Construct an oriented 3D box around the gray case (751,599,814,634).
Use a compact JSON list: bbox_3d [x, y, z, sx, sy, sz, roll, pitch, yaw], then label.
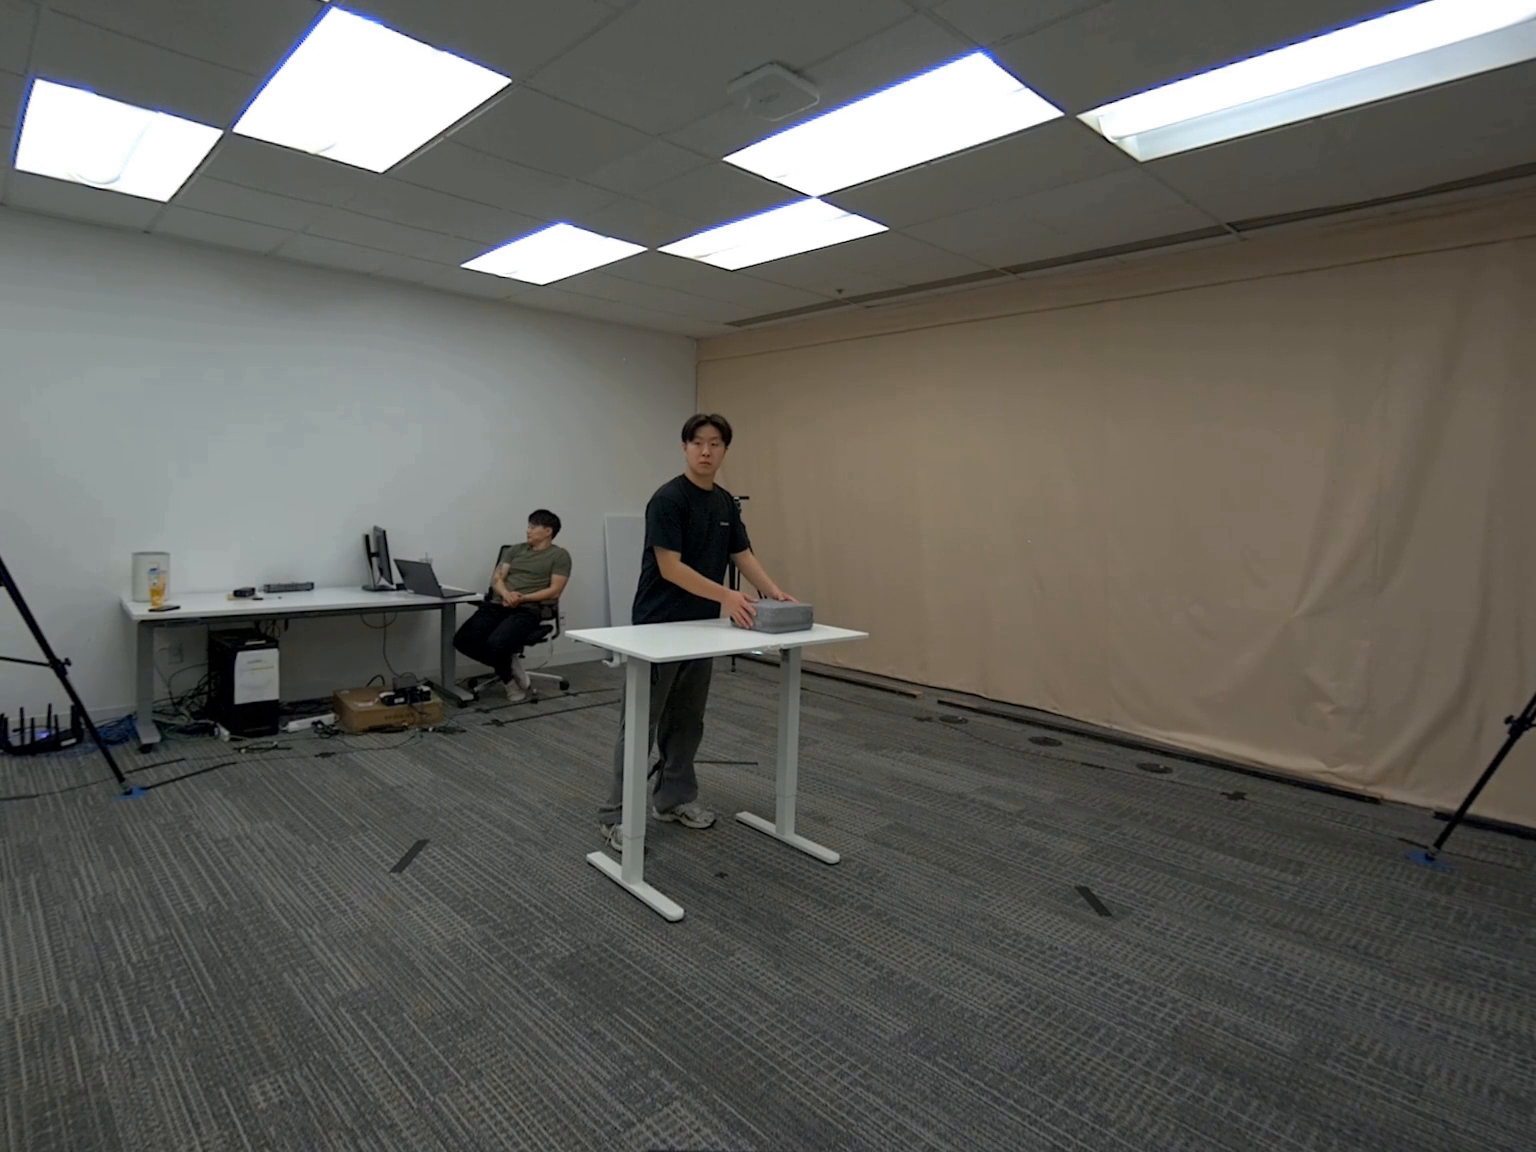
[{"bbox_3d":[0.026,0.158,3.331,0.280,0.103,0.270,-3,6,-44],"label":"gray case"}]
